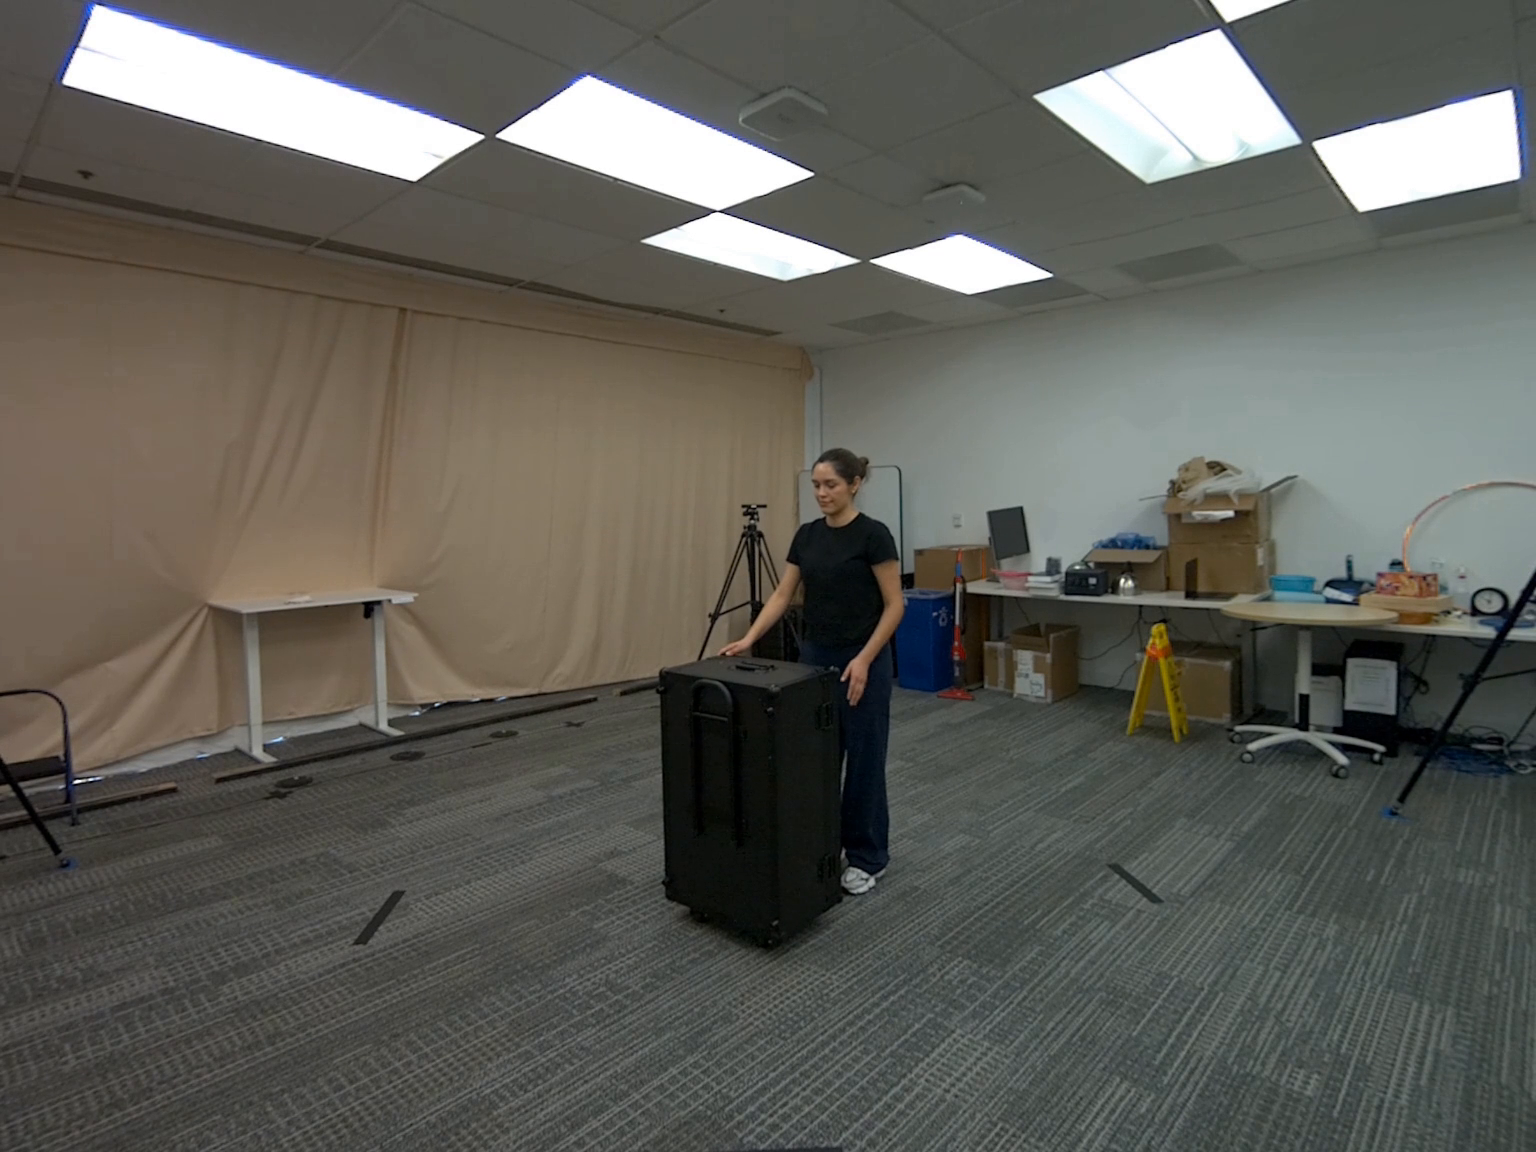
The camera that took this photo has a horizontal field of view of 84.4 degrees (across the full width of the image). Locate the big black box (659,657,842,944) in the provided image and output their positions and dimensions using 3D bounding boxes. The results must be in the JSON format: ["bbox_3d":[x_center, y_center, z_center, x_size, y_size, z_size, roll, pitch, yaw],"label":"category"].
[{"bbox_3d":[-0.044,0.732,2.790,0.538,0.859,0.385,2,6,39],"label":"big black box"}]
